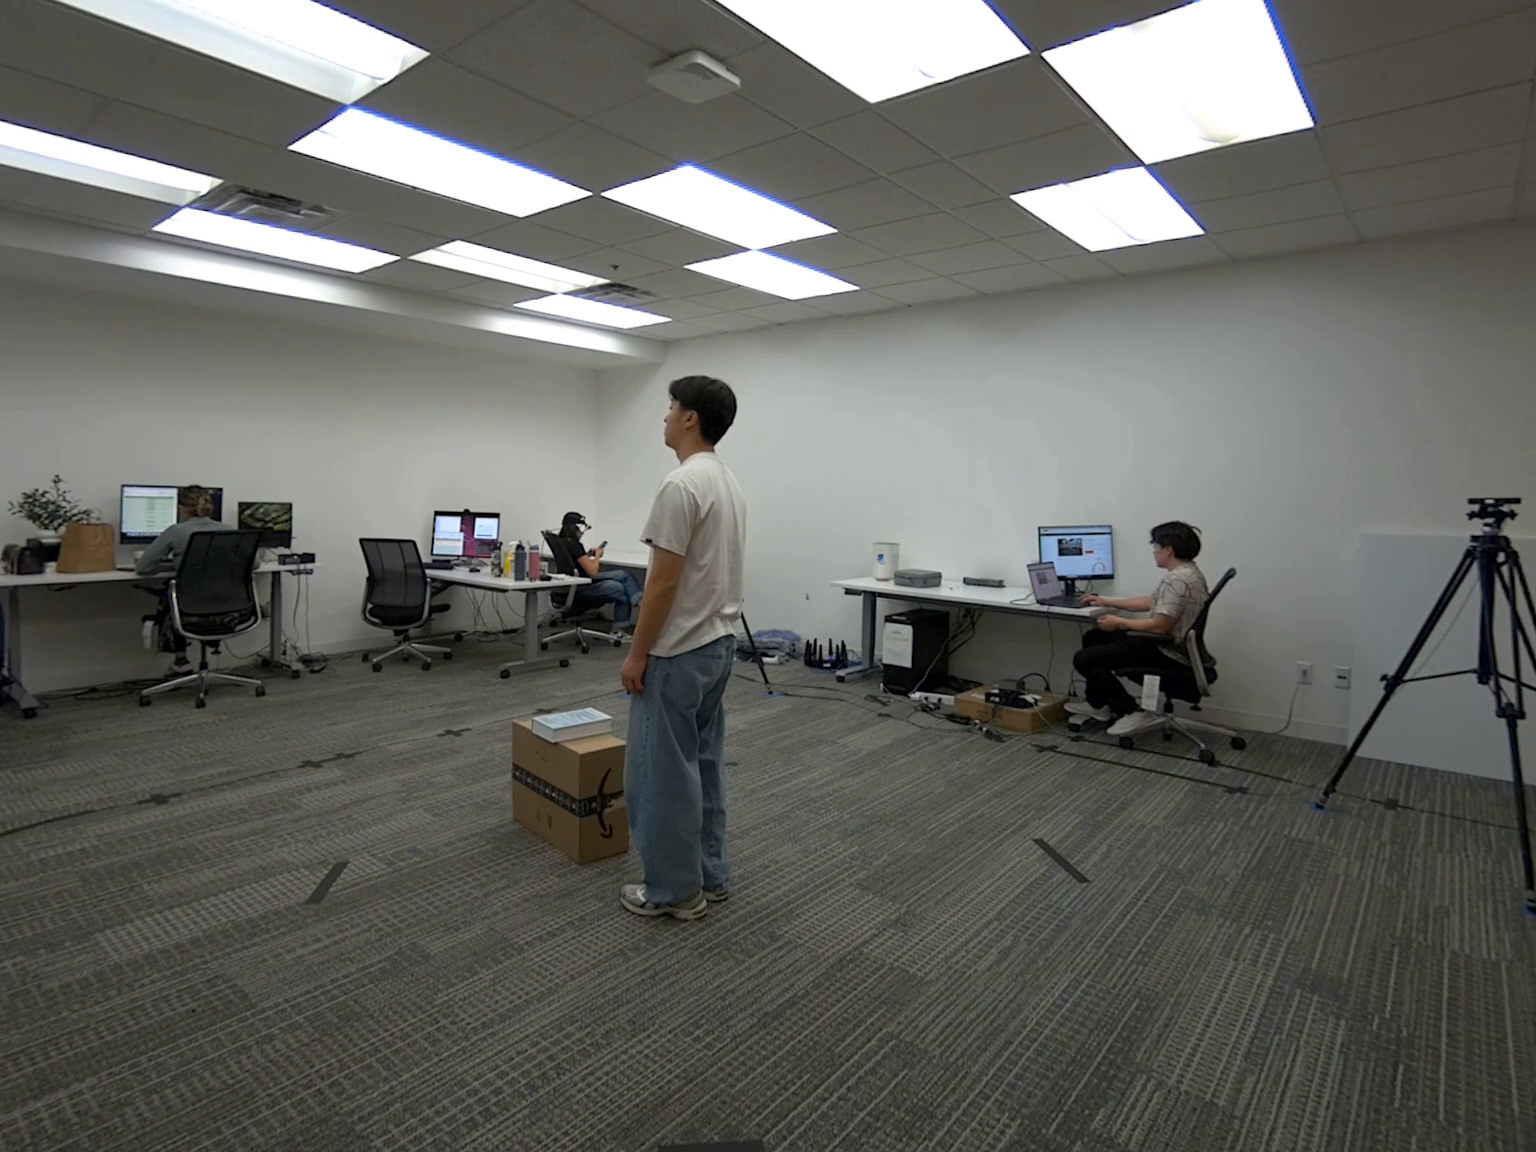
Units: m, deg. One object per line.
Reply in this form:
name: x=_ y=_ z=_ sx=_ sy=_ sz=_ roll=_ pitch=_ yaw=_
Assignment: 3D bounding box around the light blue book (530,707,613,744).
light blue book: x=-0.792 y=0.587 z=3.373 sx=0.253 sy=0.059 sz=0.198 roll=-4 pitch=8 yaw=-39
